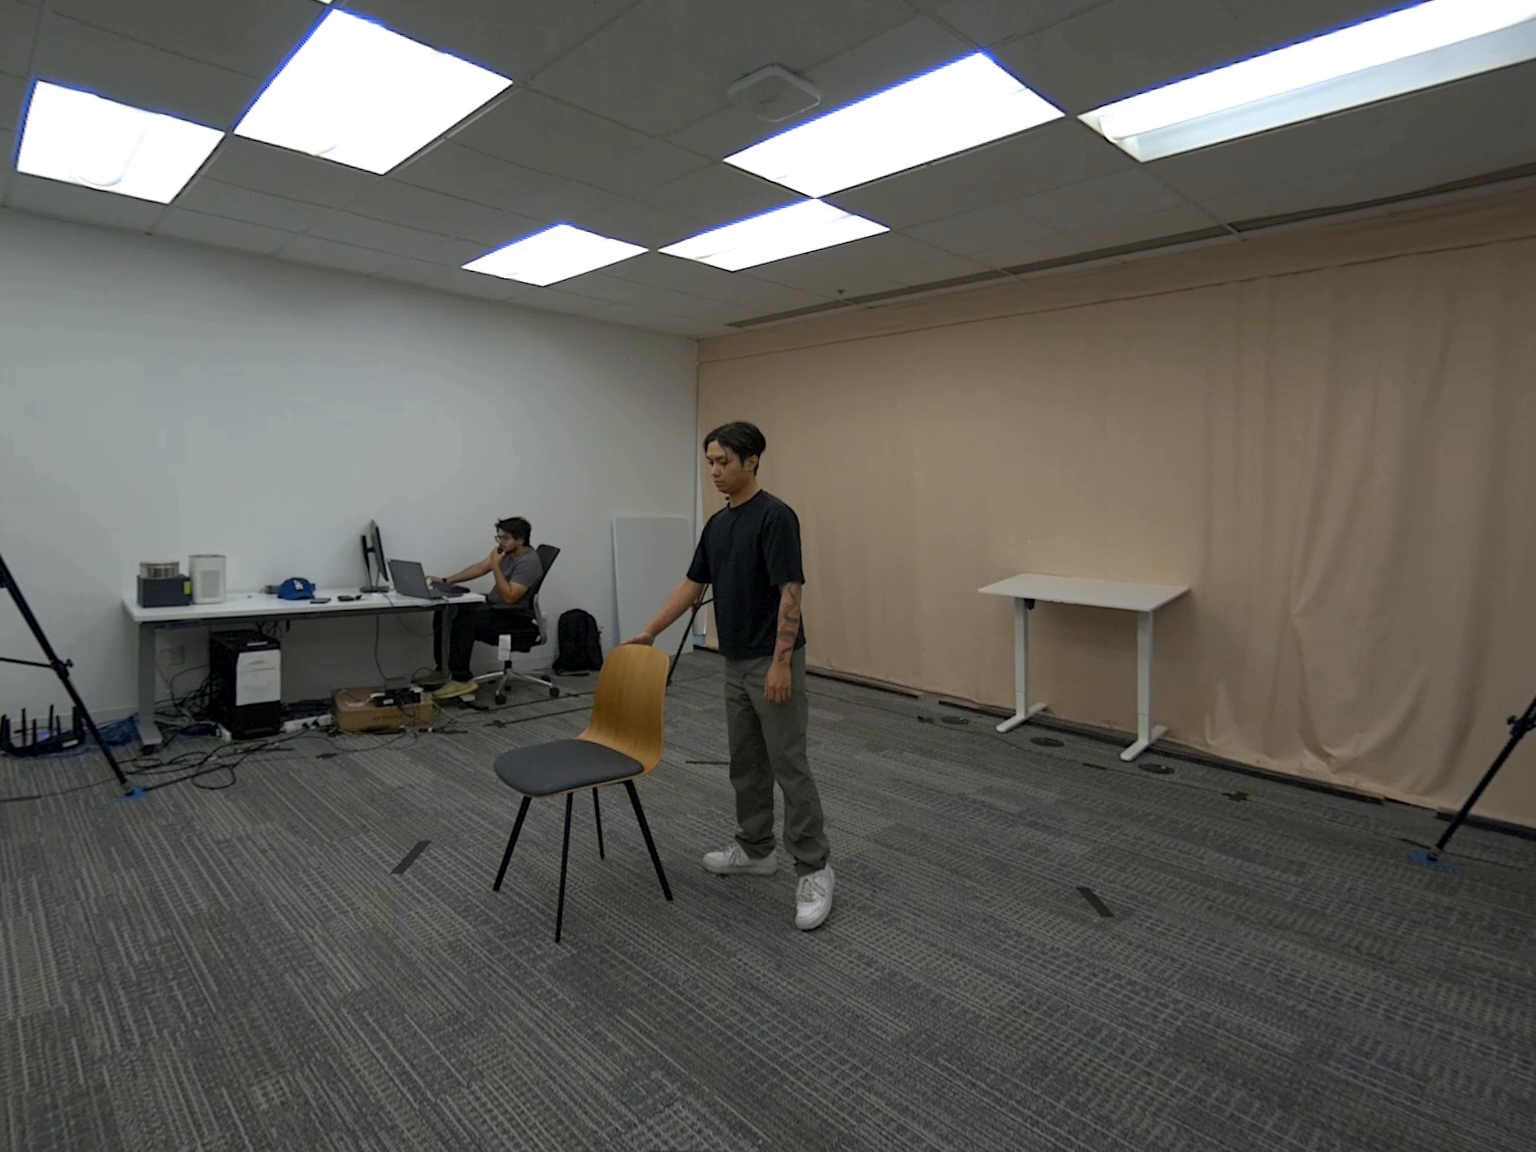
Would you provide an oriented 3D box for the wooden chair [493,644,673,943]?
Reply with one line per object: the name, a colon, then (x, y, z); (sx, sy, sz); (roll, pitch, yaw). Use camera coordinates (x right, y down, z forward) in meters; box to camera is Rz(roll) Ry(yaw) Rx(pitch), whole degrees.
wooden chair: (-0.645, 0.687, 2.887); (0.510, 0.877, 0.490); (4, 0, -42)
